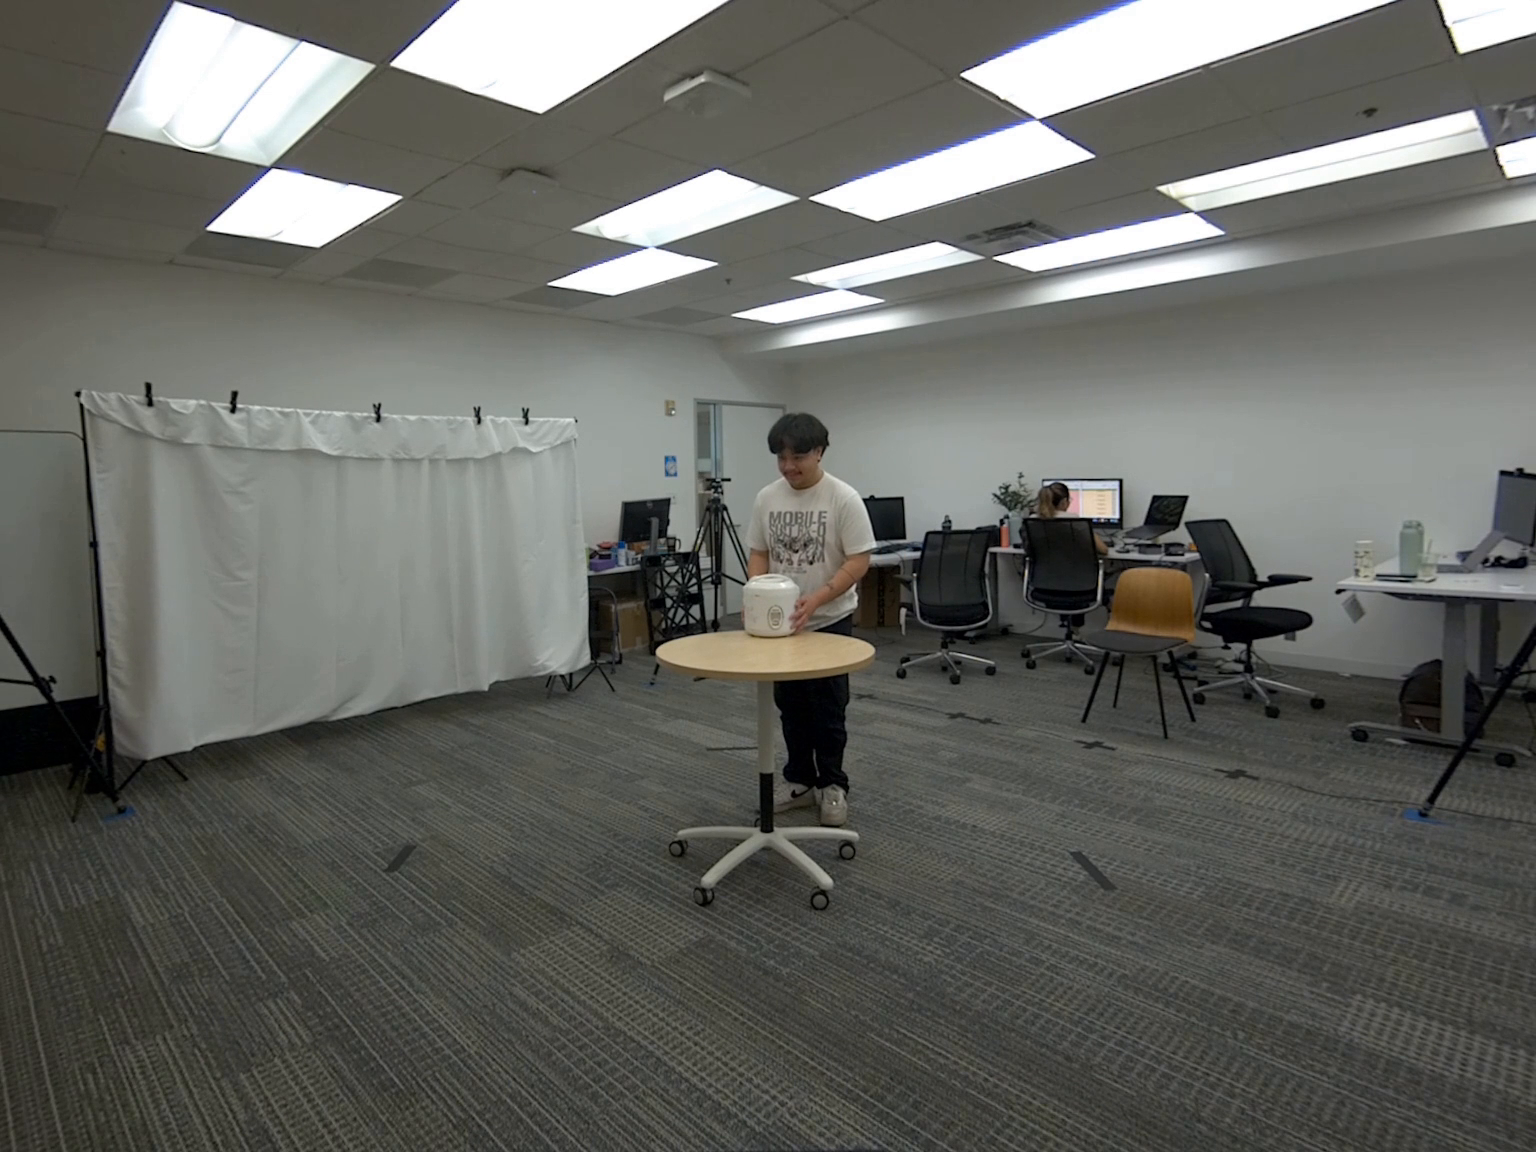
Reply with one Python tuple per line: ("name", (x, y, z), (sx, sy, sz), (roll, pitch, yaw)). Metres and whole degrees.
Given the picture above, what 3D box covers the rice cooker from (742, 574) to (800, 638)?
("rice cooker", (0.004, 0.112, 3.292), (0.219, 0.232, 0.220), (-2, 3, -9))
